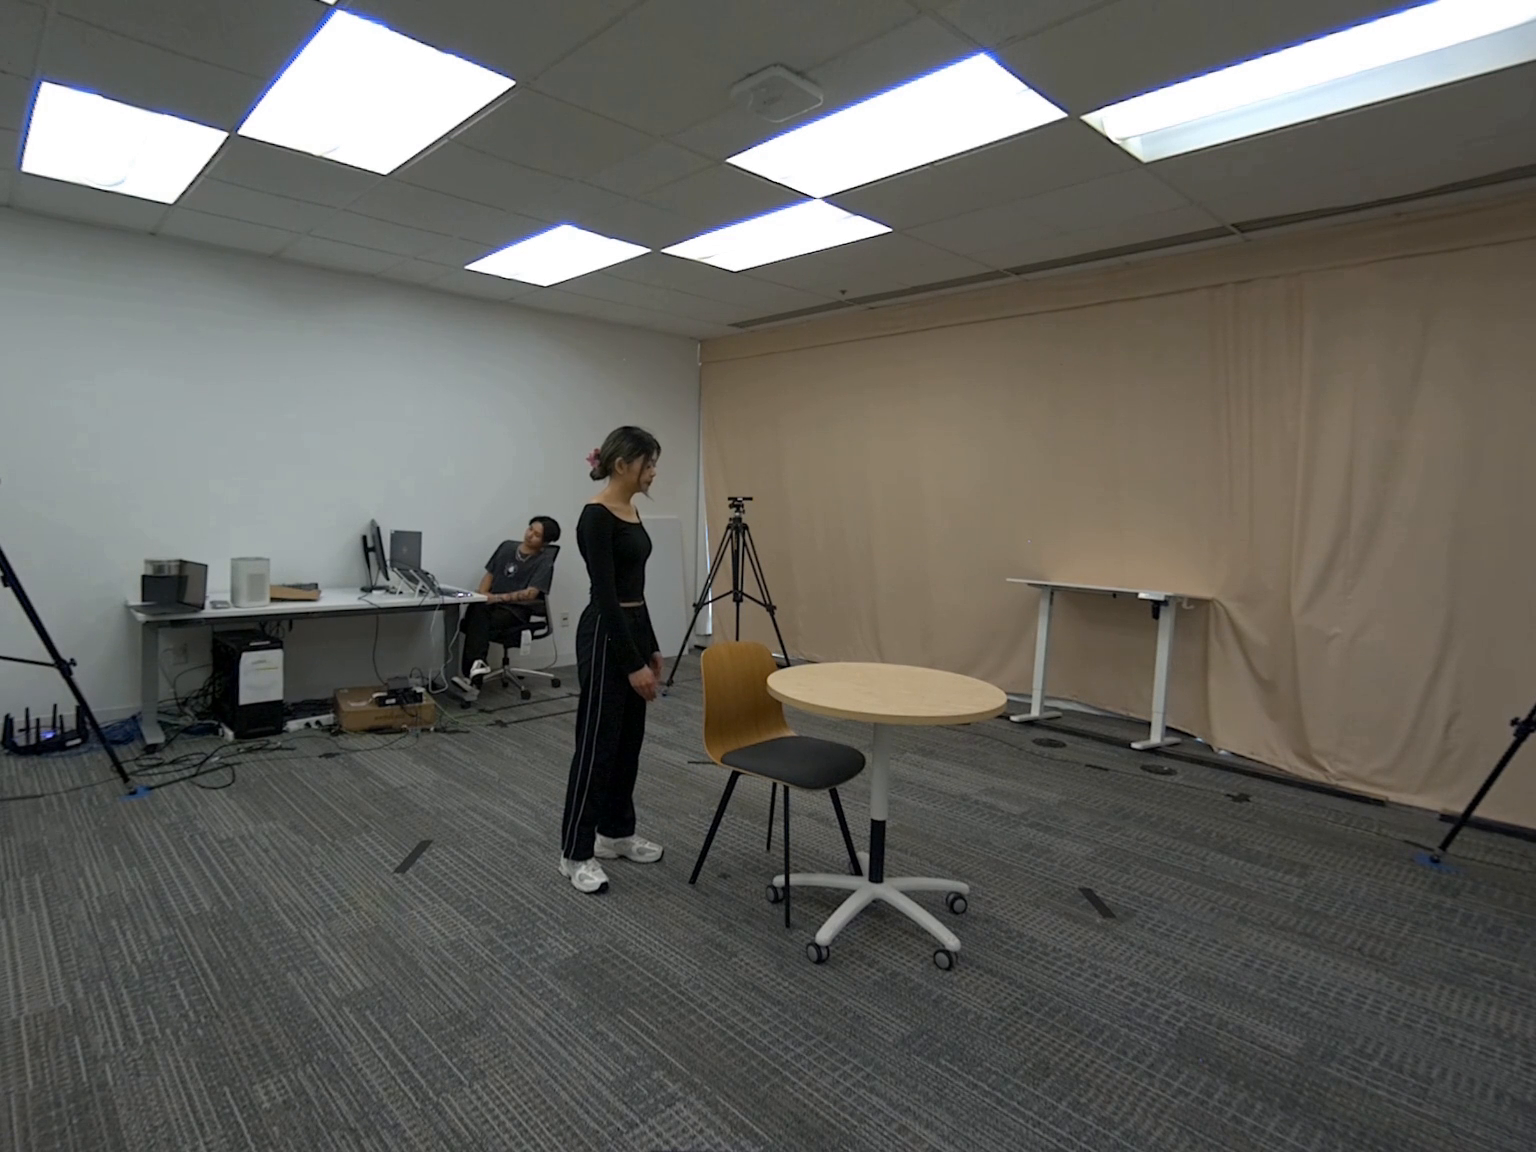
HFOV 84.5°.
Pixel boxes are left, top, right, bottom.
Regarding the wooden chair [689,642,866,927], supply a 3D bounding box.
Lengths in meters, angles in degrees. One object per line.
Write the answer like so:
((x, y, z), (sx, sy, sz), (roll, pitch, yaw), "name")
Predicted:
((0.045, 0.690, 3.015), (0.535, 0.878, 0.467), (-2, 0, 41), "wooden chair")
